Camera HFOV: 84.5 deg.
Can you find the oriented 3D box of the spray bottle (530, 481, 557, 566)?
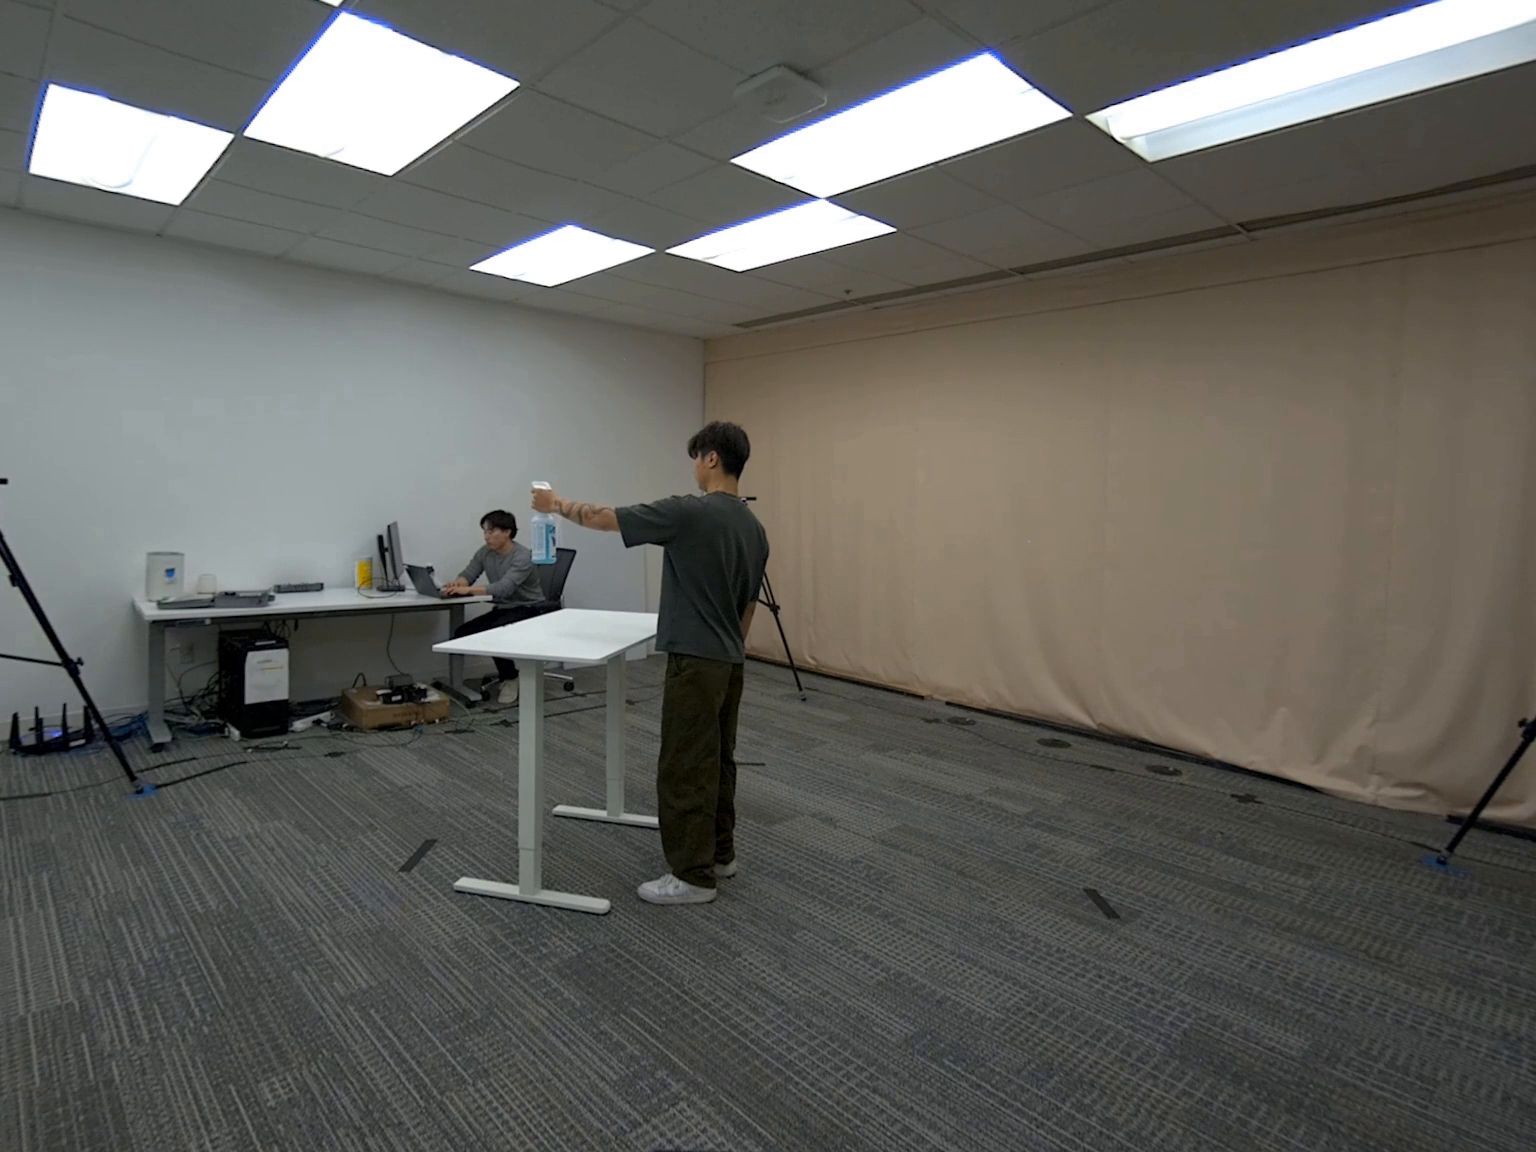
[{"bbox_3d":[-0.819,-0.192,3.073,0.085,0.297,0.092,-1,1,-33],"label":"spray bottle"}]
